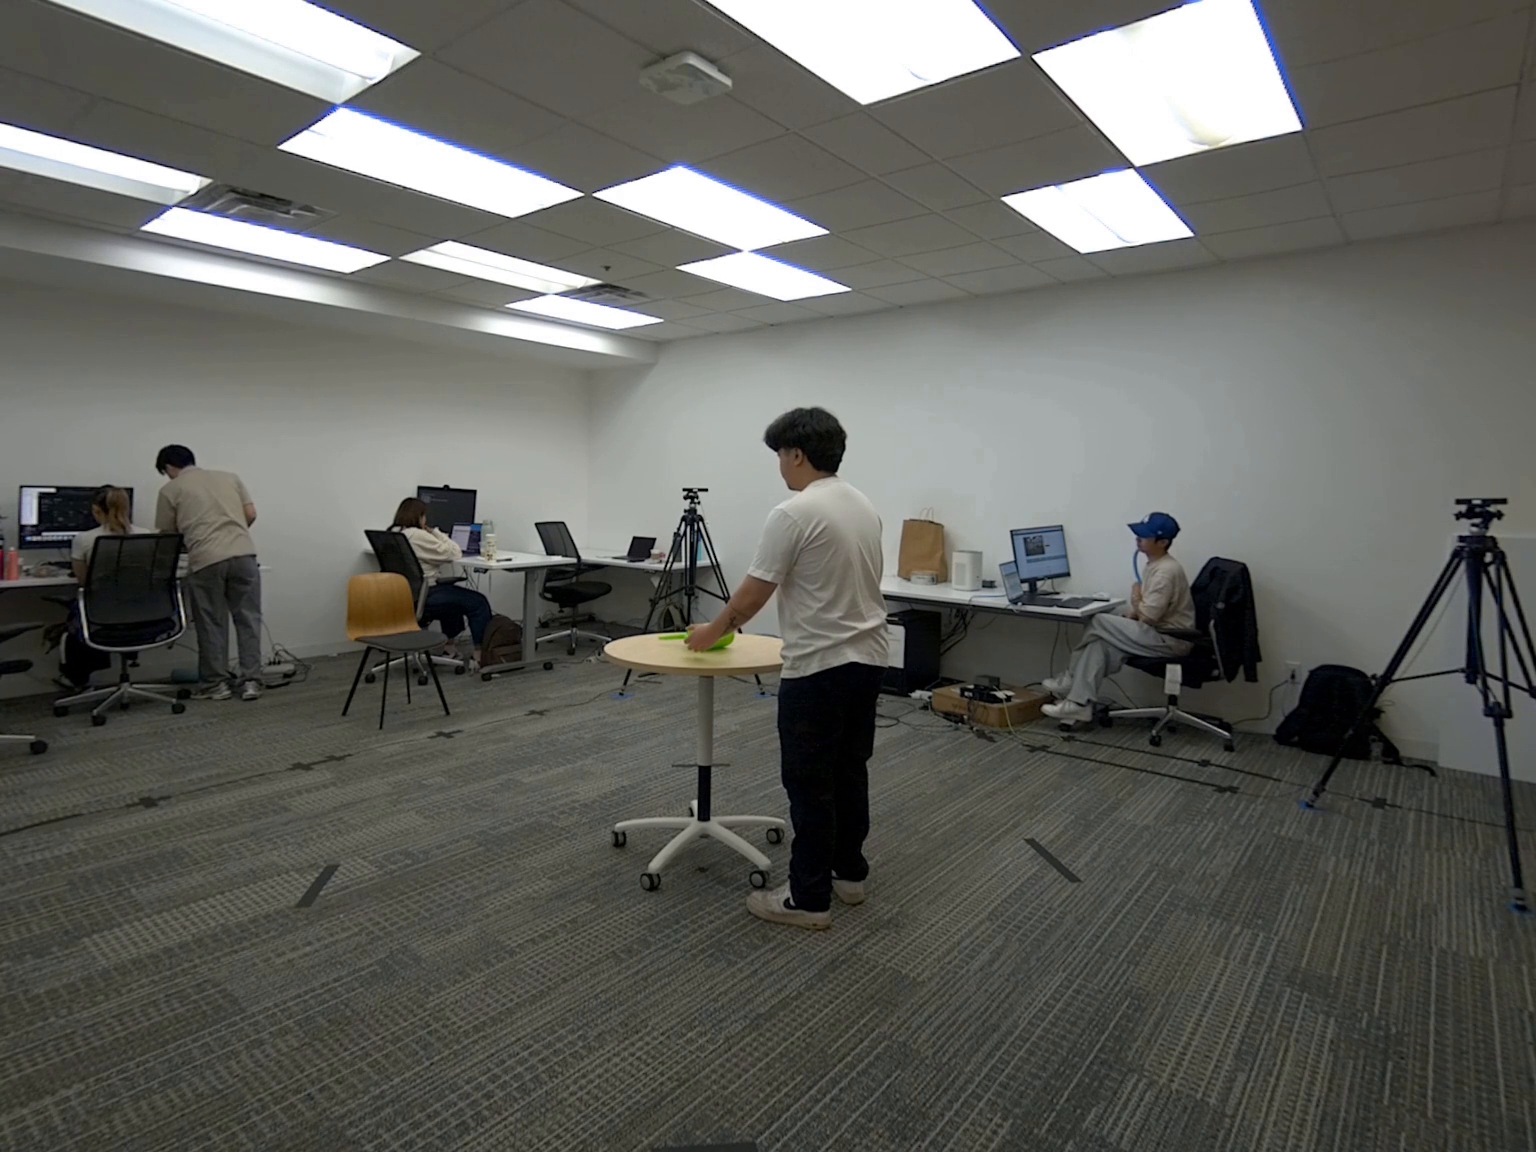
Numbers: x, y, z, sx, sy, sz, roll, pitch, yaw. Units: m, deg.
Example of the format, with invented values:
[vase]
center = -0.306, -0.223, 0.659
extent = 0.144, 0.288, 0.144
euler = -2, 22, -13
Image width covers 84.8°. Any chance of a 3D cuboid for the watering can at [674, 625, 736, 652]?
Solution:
[watering can]
center = -0.272, 0.213, 3.200
extent = 0.289, 0.097, 0.171
euler = 13, 11, 44
